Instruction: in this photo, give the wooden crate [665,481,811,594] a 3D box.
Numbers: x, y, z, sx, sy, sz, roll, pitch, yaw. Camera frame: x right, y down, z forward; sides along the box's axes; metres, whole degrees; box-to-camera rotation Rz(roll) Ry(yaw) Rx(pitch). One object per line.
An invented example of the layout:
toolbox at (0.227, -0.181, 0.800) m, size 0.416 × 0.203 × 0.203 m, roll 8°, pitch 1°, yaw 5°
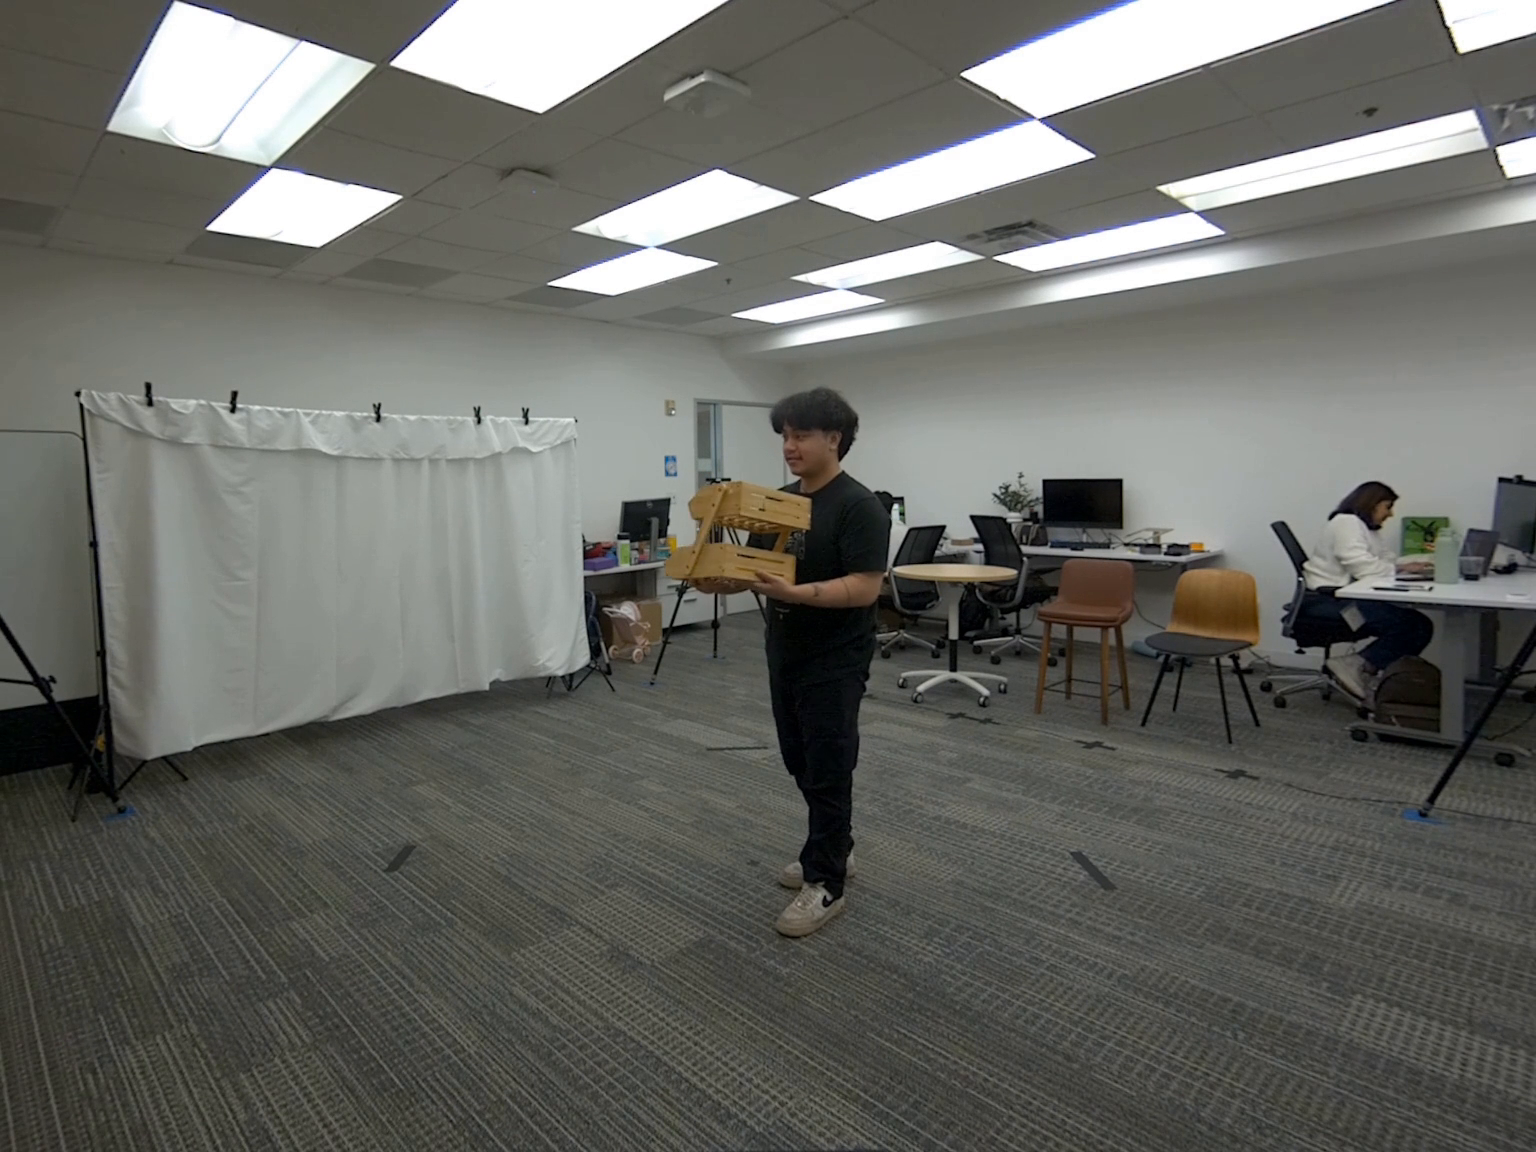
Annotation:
wooden crate at (-0.092, -0.115, 2.509) m, size 0.310 × 0.275 × 0.314 m, roll -3°, pitch -9°, yaw 43°
